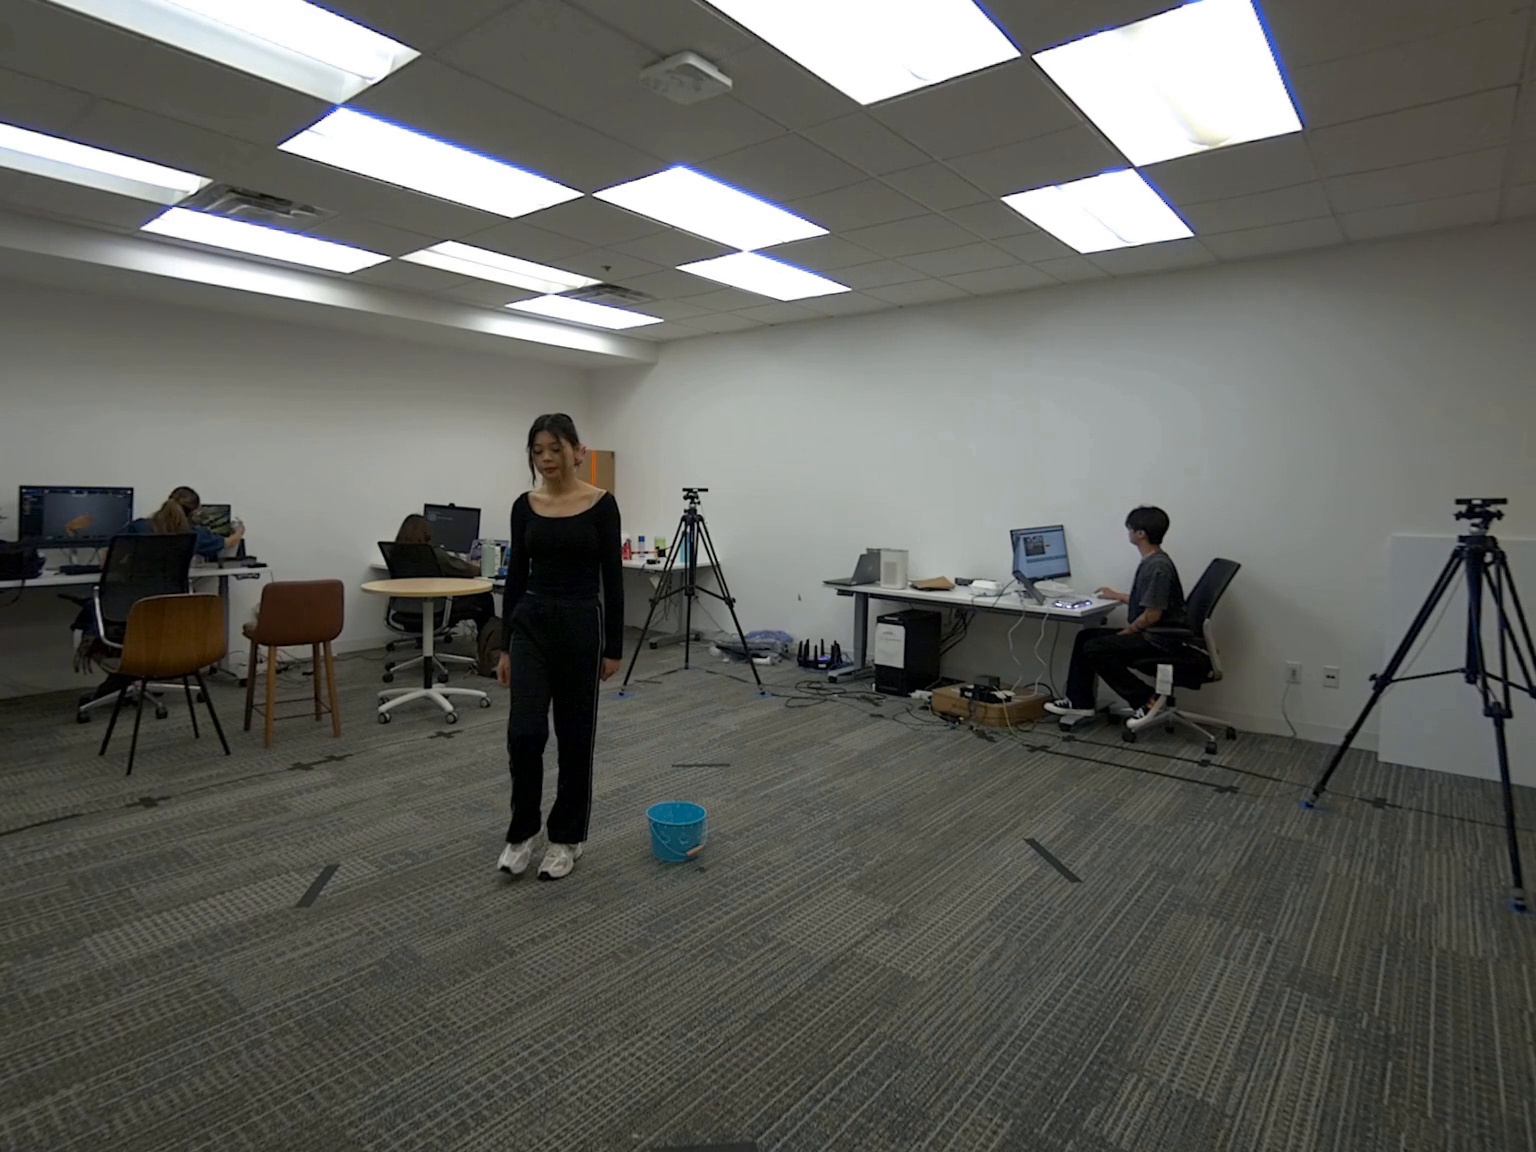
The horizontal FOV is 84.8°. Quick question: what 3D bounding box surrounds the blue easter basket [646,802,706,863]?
[{"bbox_3d":[-0.363,0.979,3.249,0.243,0.155,0.245,1,4,-2],"label":"blue easter basket"}]
